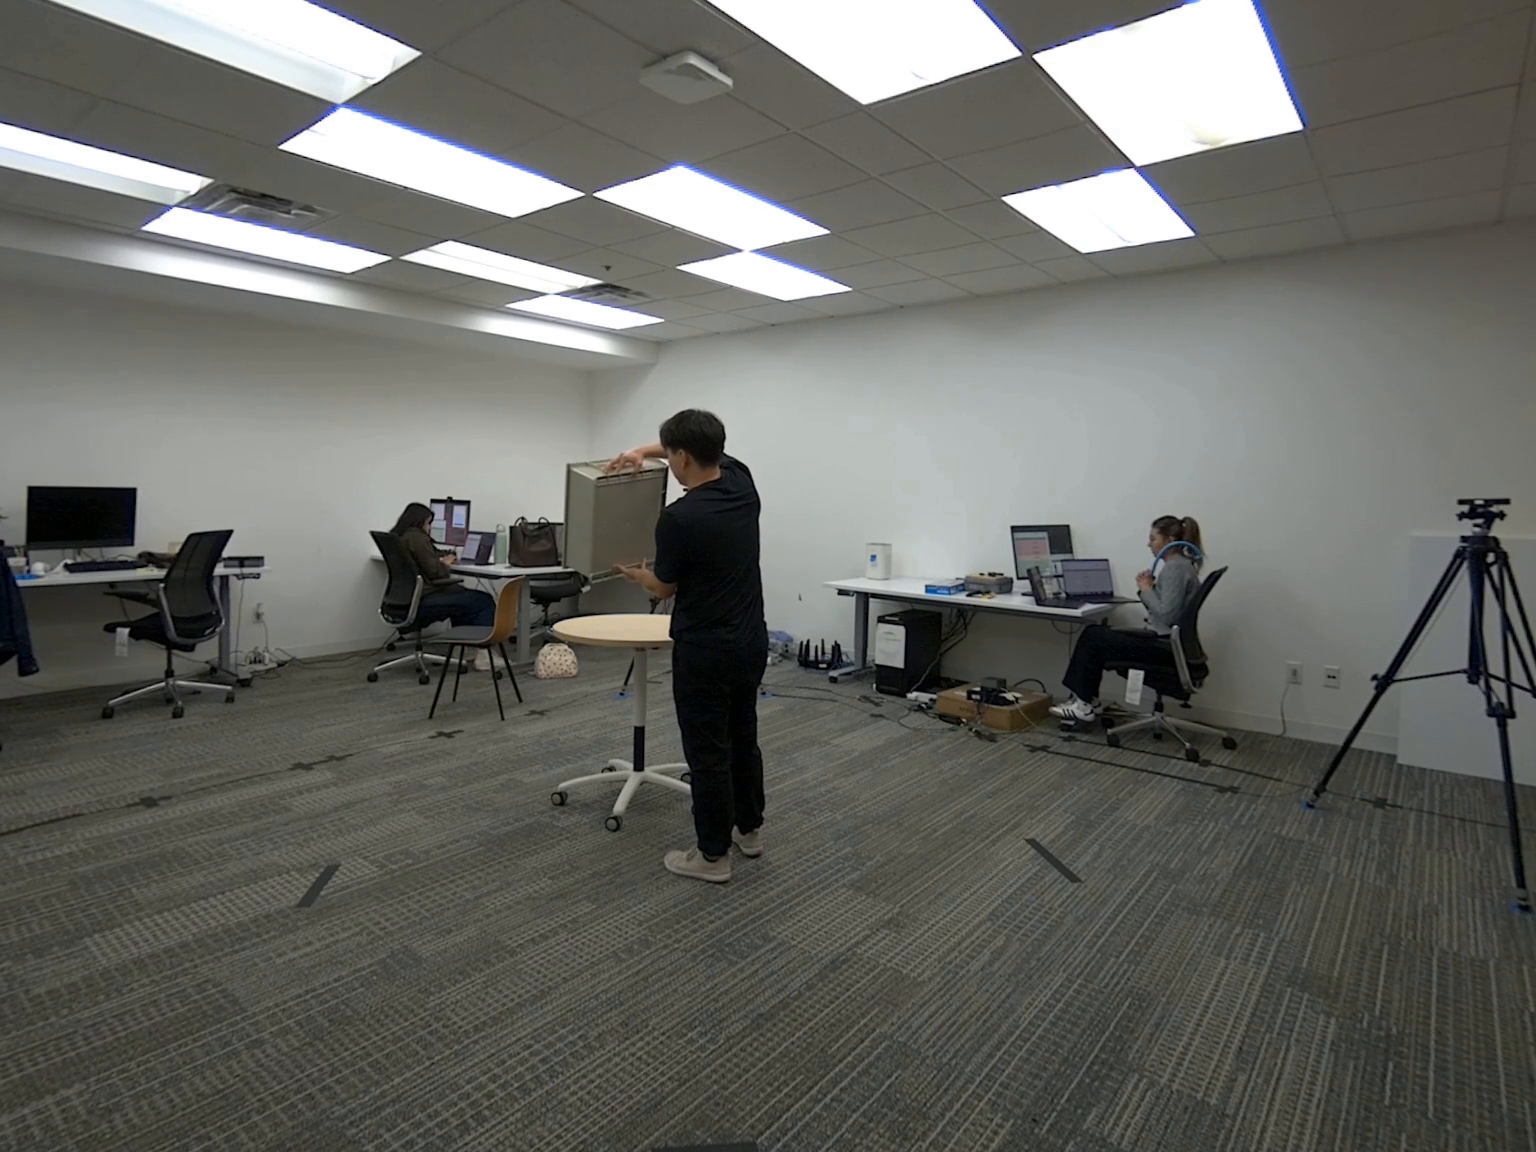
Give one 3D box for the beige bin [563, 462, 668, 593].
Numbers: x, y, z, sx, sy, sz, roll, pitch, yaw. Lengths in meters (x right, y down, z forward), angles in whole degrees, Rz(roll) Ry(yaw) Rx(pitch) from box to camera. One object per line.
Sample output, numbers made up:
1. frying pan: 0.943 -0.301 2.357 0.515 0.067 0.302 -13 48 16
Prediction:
1. beige bin: -0.584 -0.231 3.254 0.197 0.415 0.368 25 27 39
